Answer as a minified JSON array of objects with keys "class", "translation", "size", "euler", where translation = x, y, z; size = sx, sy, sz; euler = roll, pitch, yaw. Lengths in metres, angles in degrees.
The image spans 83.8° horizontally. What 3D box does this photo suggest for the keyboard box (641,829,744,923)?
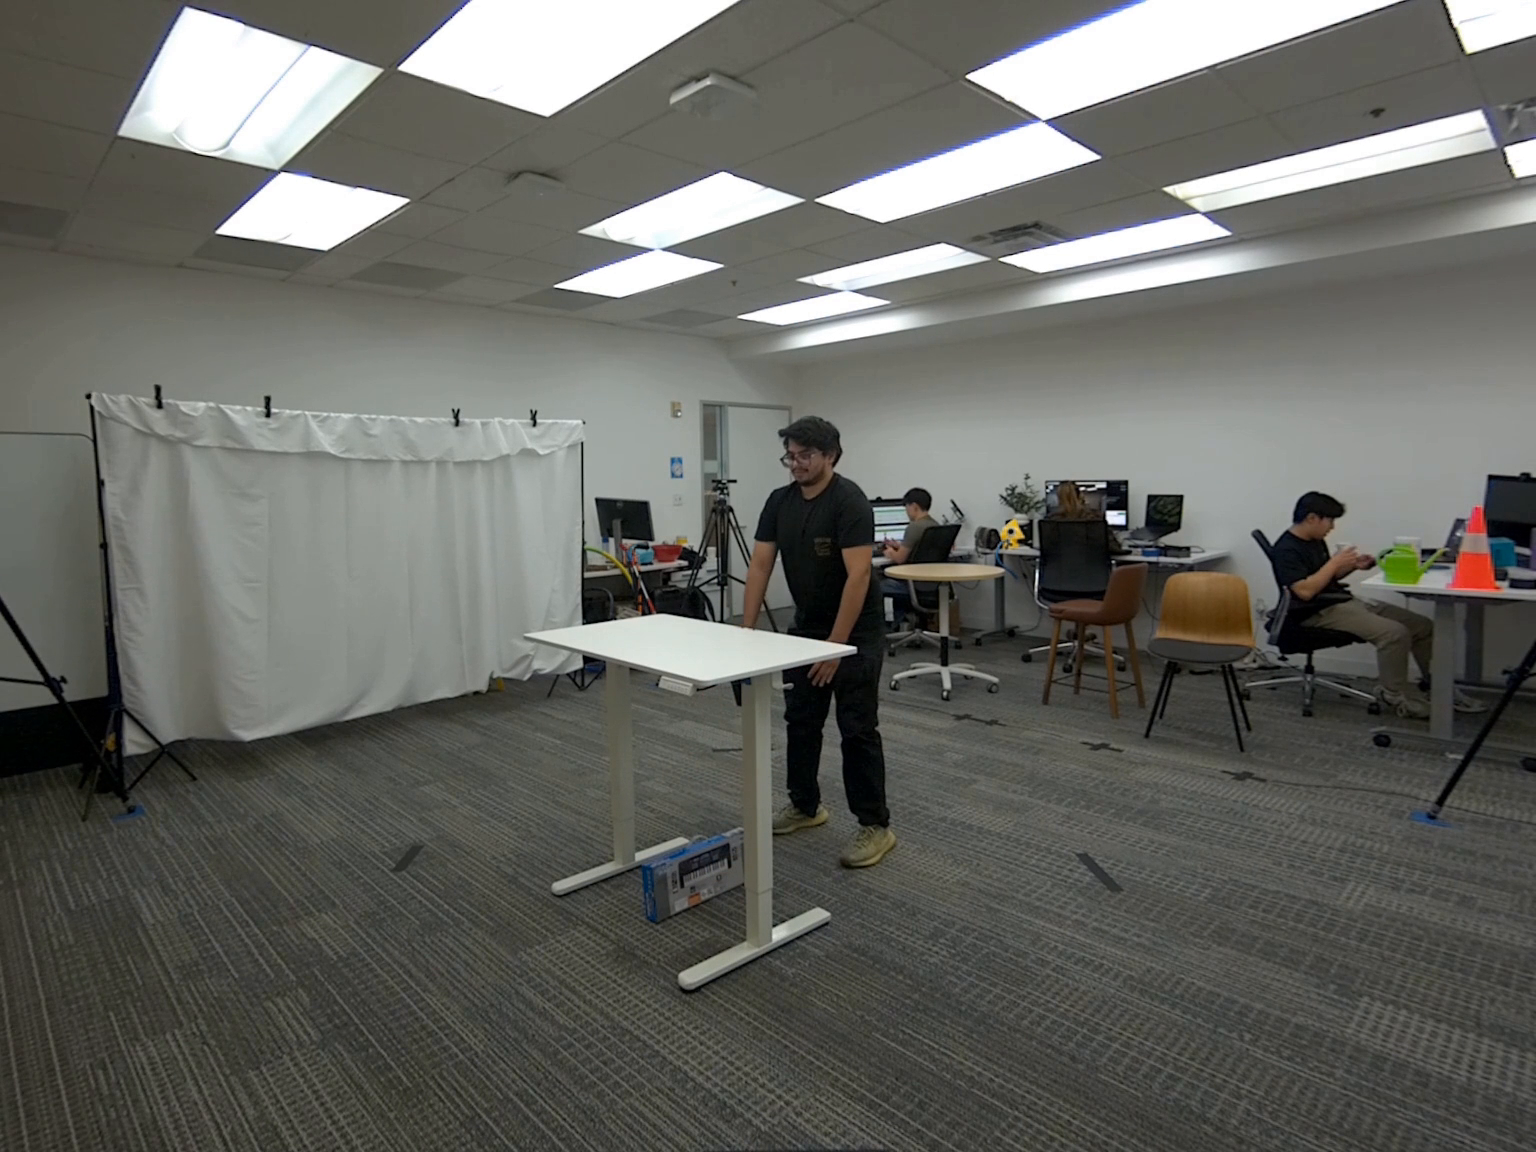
[{"class":"keyboard box","translation":[-0.222,0.992,2.862],"size":[0.425,0.176,0.060],"euler":[-7,1,-43]}]
